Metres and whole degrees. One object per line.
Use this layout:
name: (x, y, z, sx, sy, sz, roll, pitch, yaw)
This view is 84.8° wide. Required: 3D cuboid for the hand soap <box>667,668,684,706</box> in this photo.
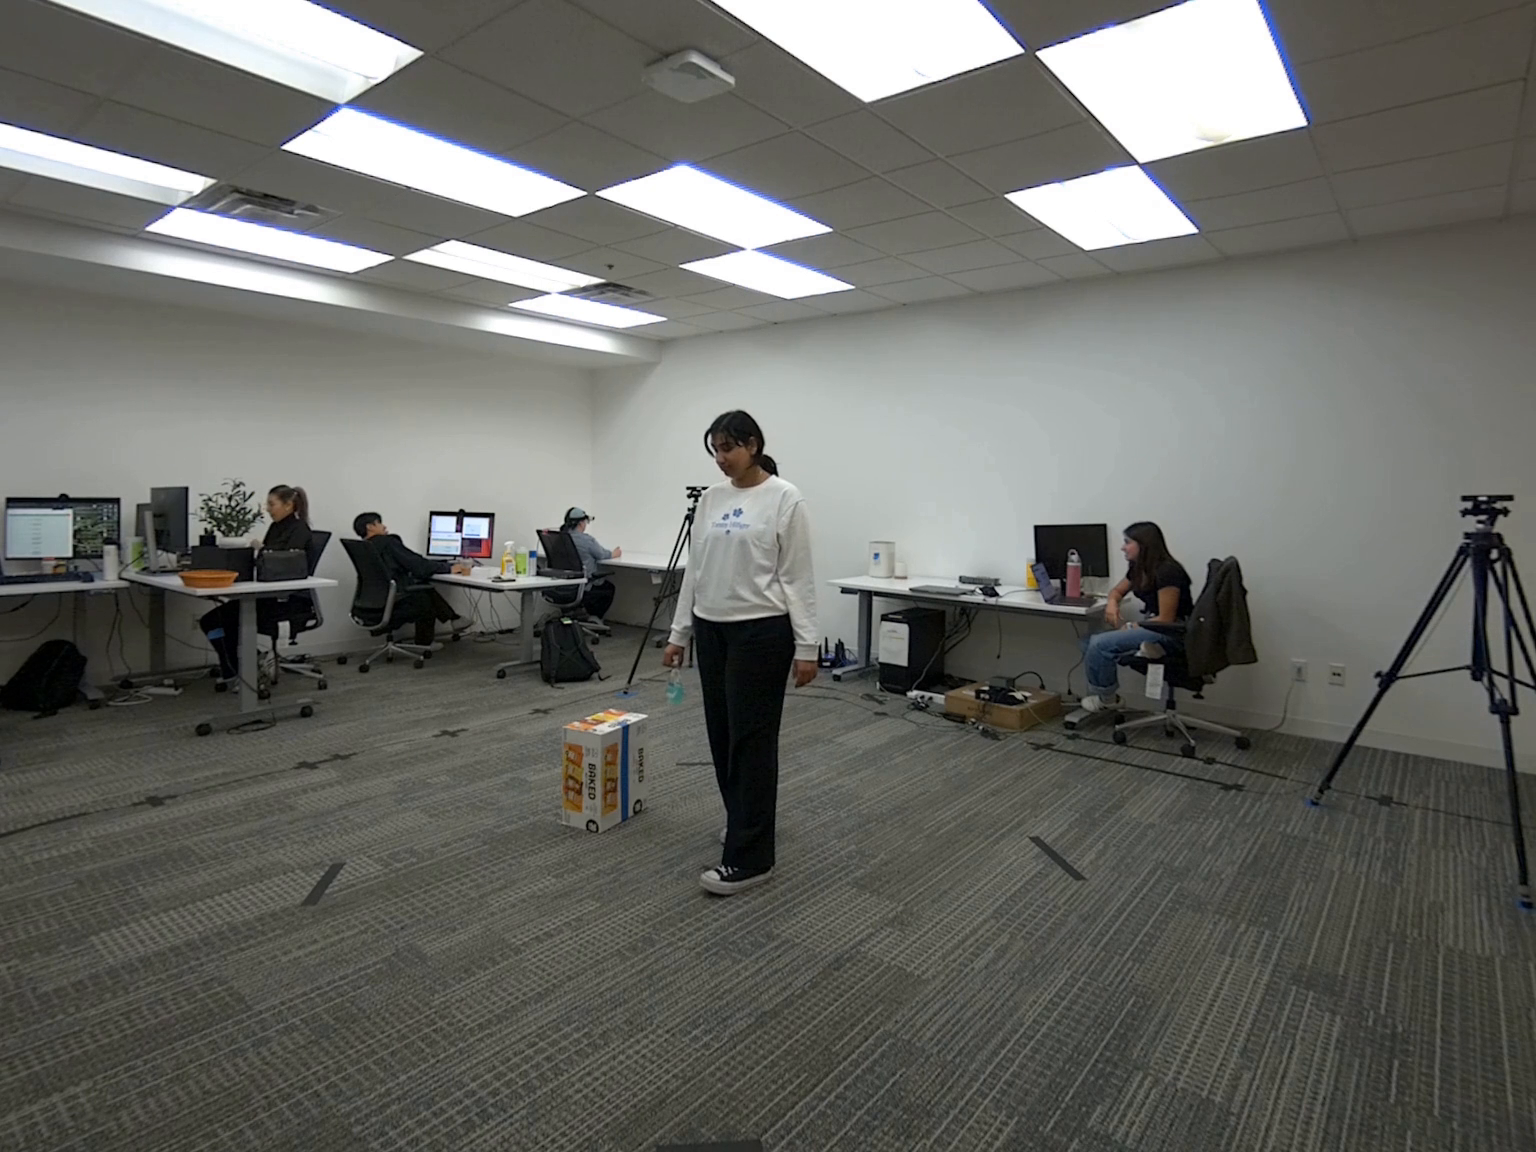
hand soap: (-0.359, 0.419, 3.339, 0.042, 0.168, 0.087, 4, 2, -40)
